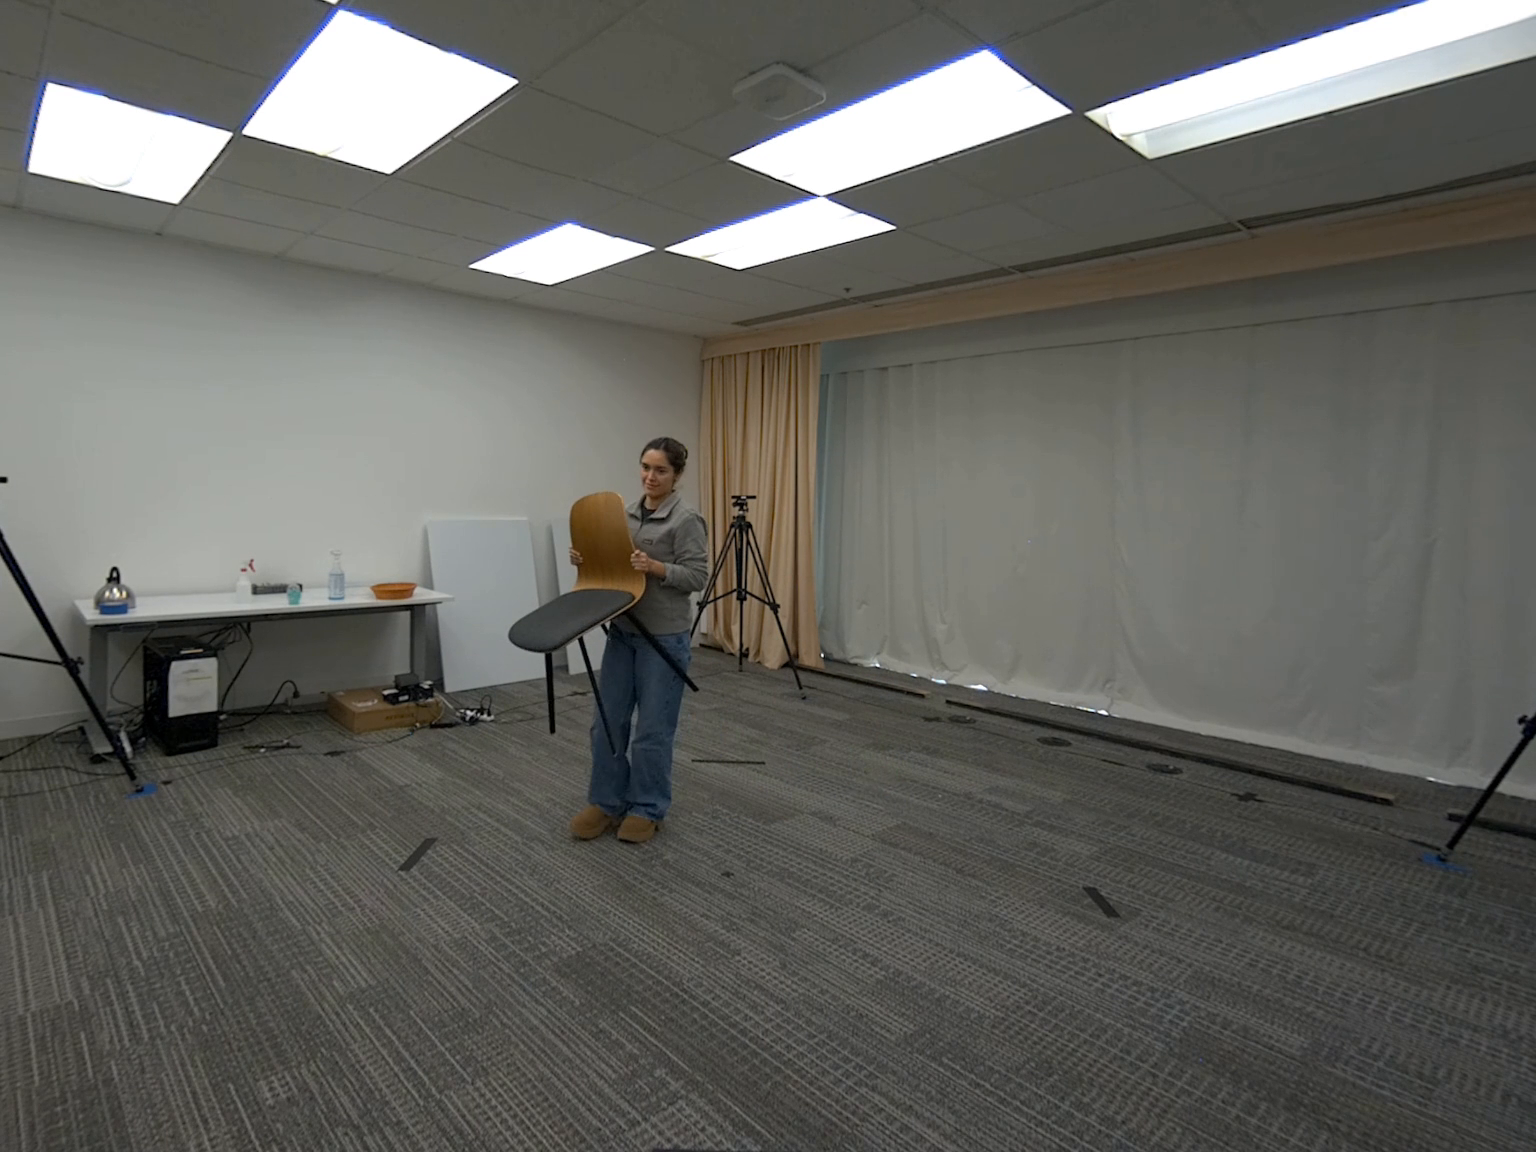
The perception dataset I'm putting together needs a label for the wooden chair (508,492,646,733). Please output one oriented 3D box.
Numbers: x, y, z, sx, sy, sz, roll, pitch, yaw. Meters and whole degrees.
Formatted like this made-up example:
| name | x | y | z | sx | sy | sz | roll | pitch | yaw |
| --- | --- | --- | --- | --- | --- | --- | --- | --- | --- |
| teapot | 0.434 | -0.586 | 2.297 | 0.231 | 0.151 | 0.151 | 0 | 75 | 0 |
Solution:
| name | x | y | z | sx | sy | sz | roll | pitch | yaw |
| --- | --- | --- | --- | --- | --- | --- | --- | --- | --- |
| wooden chair | -0.712 | 0.176 | 3.246 | 0.490 | 0.865 | 0.517 | 3 | 22 | 45 |
